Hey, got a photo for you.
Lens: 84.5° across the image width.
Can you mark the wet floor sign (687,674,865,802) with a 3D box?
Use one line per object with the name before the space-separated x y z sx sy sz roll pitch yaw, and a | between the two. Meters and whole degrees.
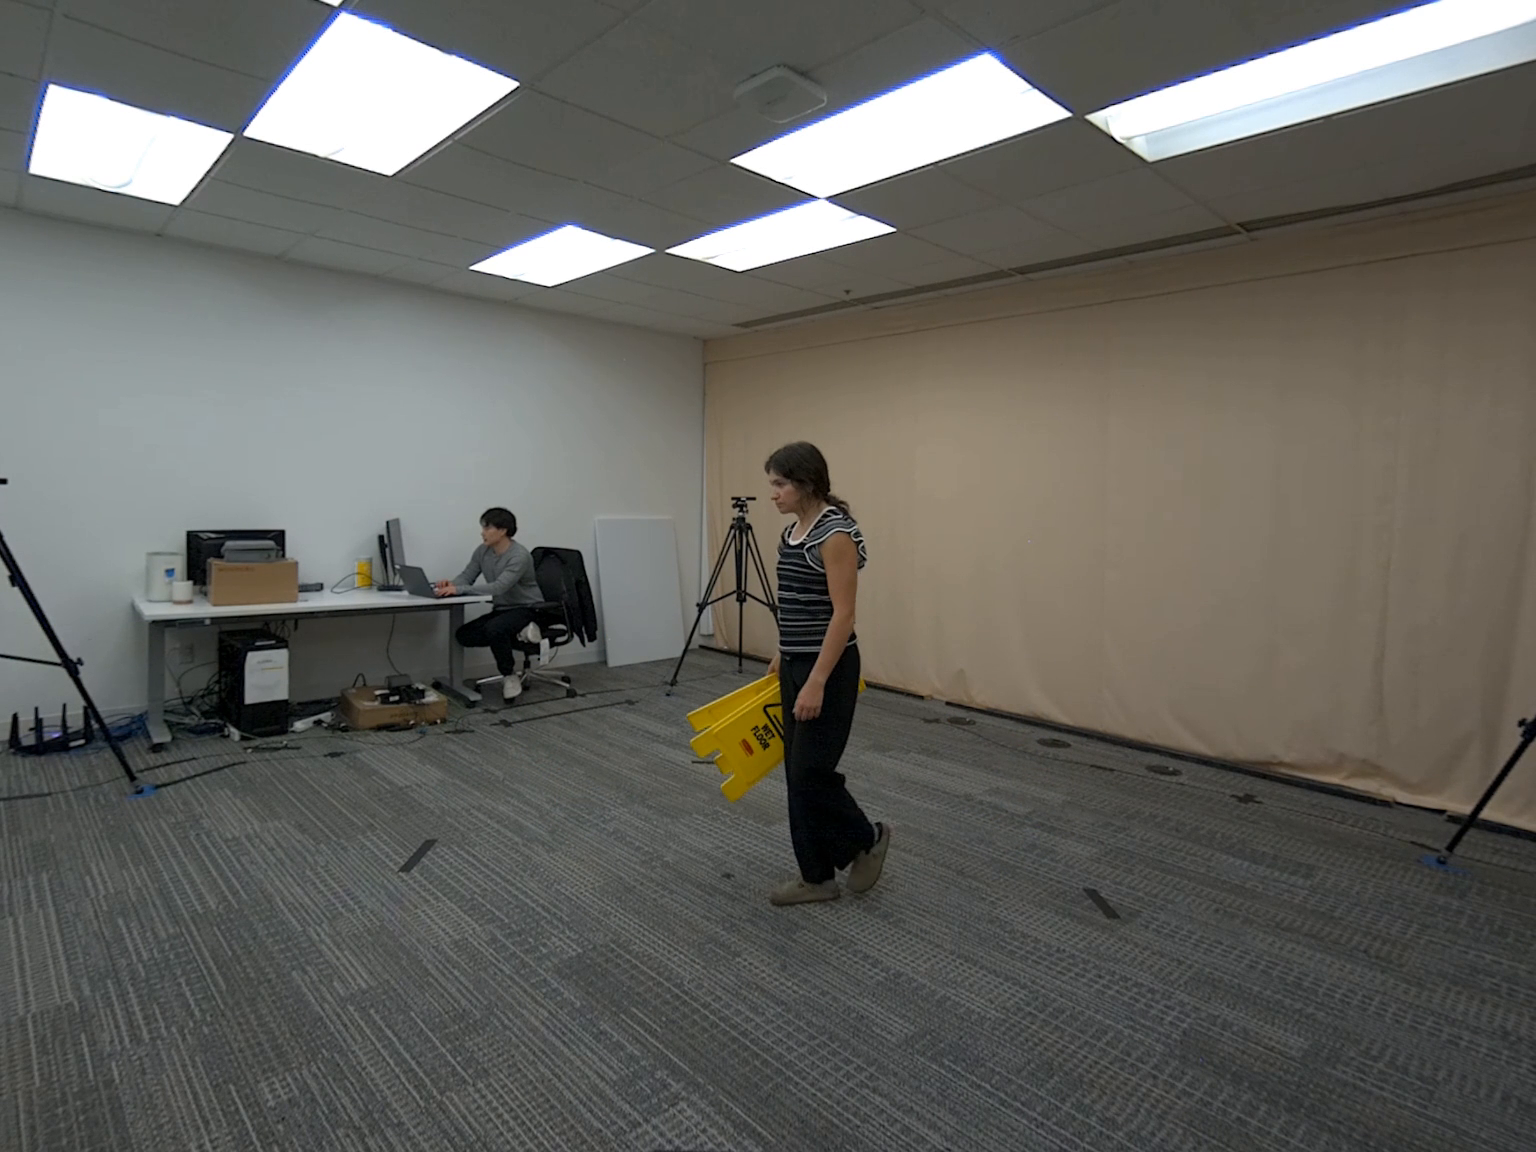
wet floor sign | 0.041 0.506 3.138 0.645 0.279 0.293 -33 12 -2
